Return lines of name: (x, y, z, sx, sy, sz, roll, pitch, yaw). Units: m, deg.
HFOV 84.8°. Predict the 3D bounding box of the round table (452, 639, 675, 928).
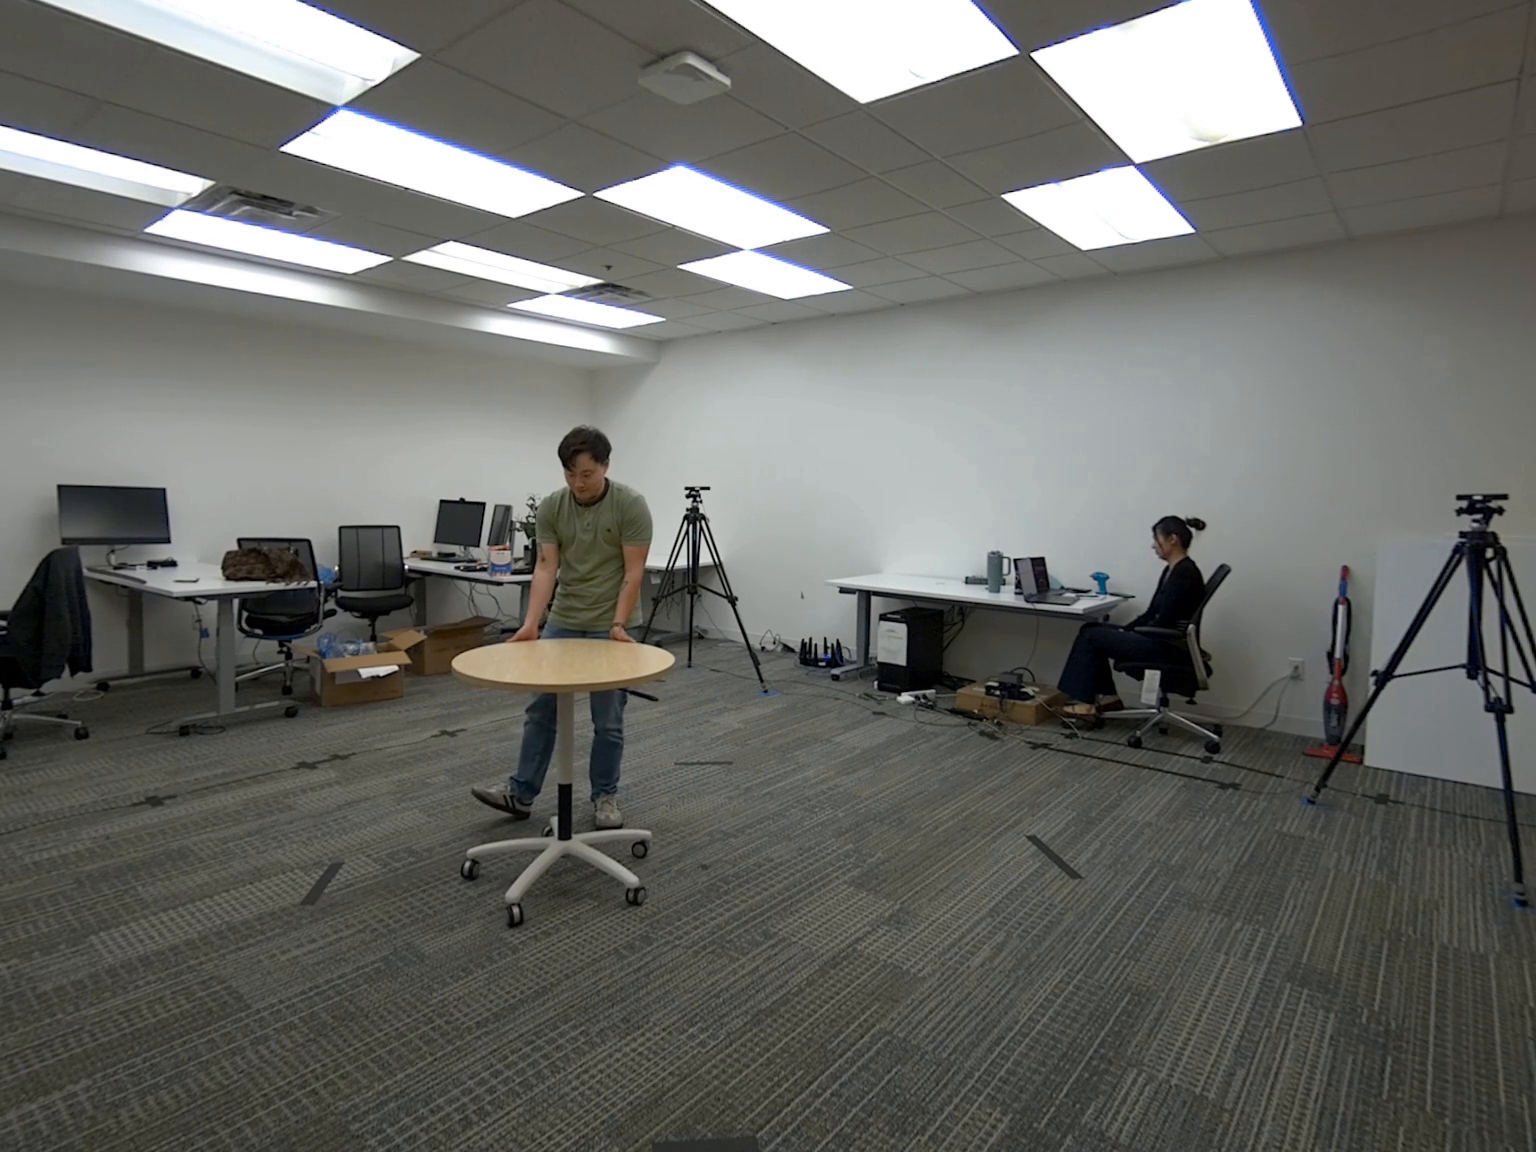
round table: (-0.731, 0.680, 2.992, 0.763, 0.791, 0.768, 1, 4, -2)
